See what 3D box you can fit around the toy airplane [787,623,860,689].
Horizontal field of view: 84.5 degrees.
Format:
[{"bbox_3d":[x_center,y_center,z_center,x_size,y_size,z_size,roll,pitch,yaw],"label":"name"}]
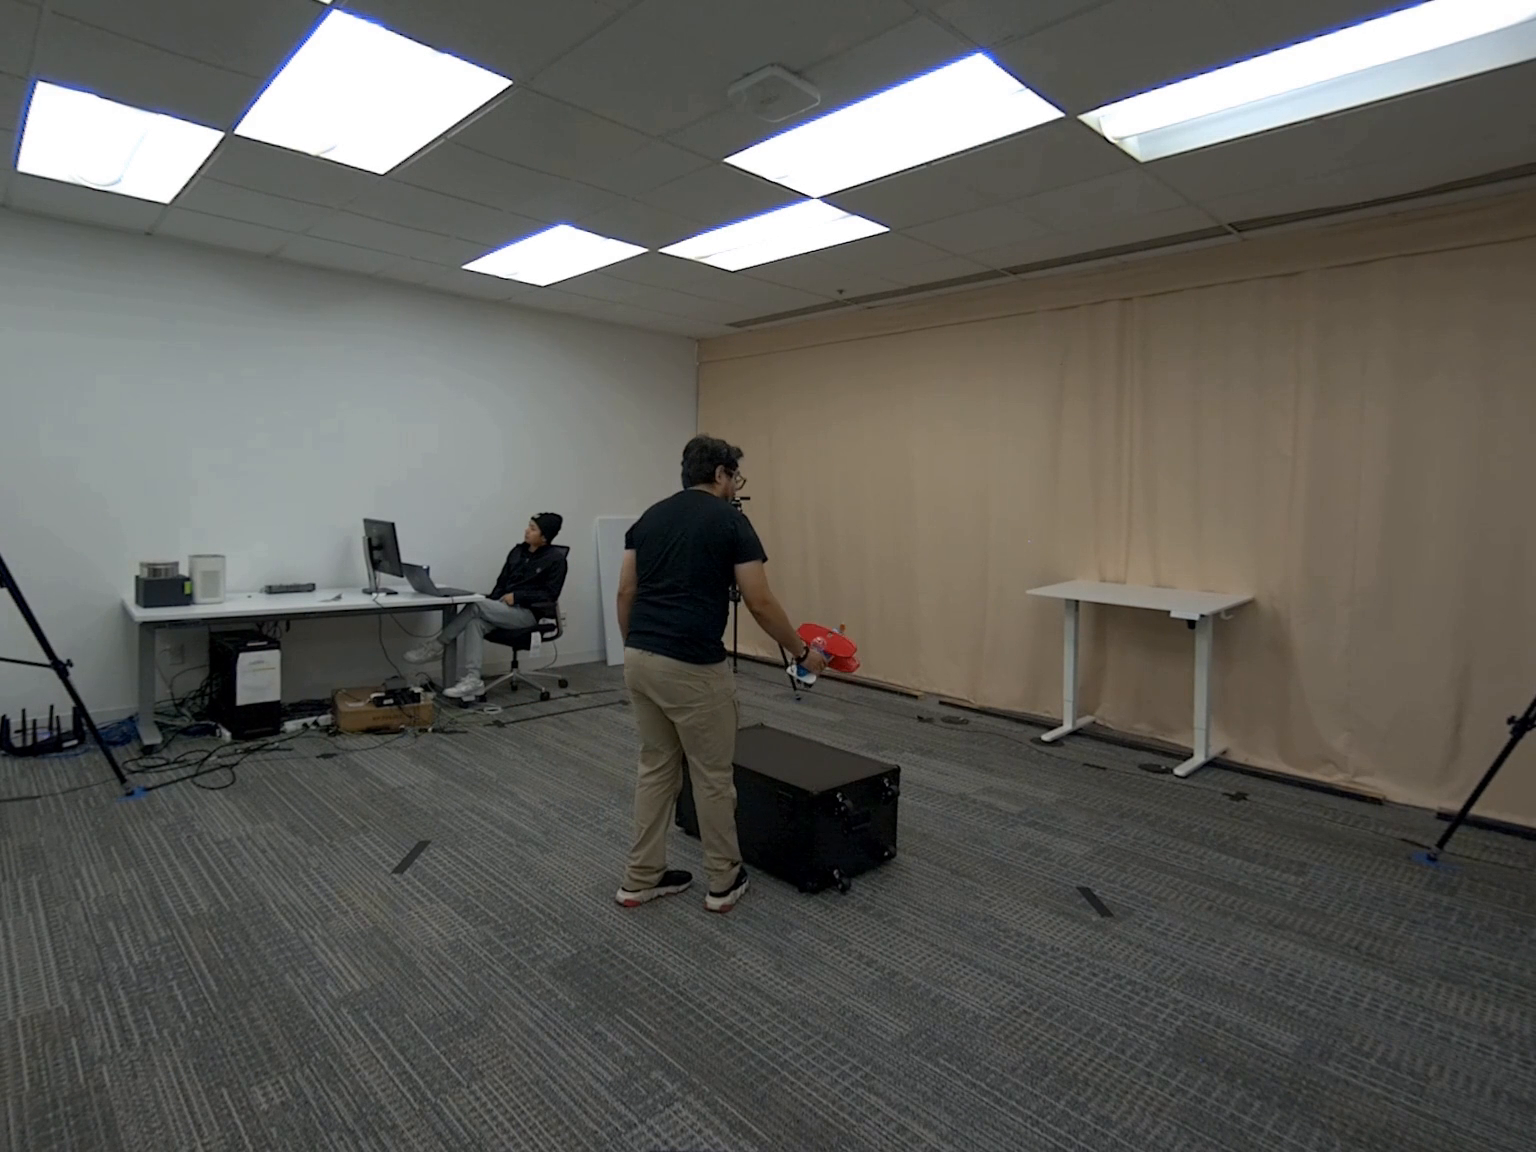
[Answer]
[{"bbox_3d":[0.200,0.296,3.038,0.254,0.154,0.261,5,26,13],"label":"toy airplane"}]
